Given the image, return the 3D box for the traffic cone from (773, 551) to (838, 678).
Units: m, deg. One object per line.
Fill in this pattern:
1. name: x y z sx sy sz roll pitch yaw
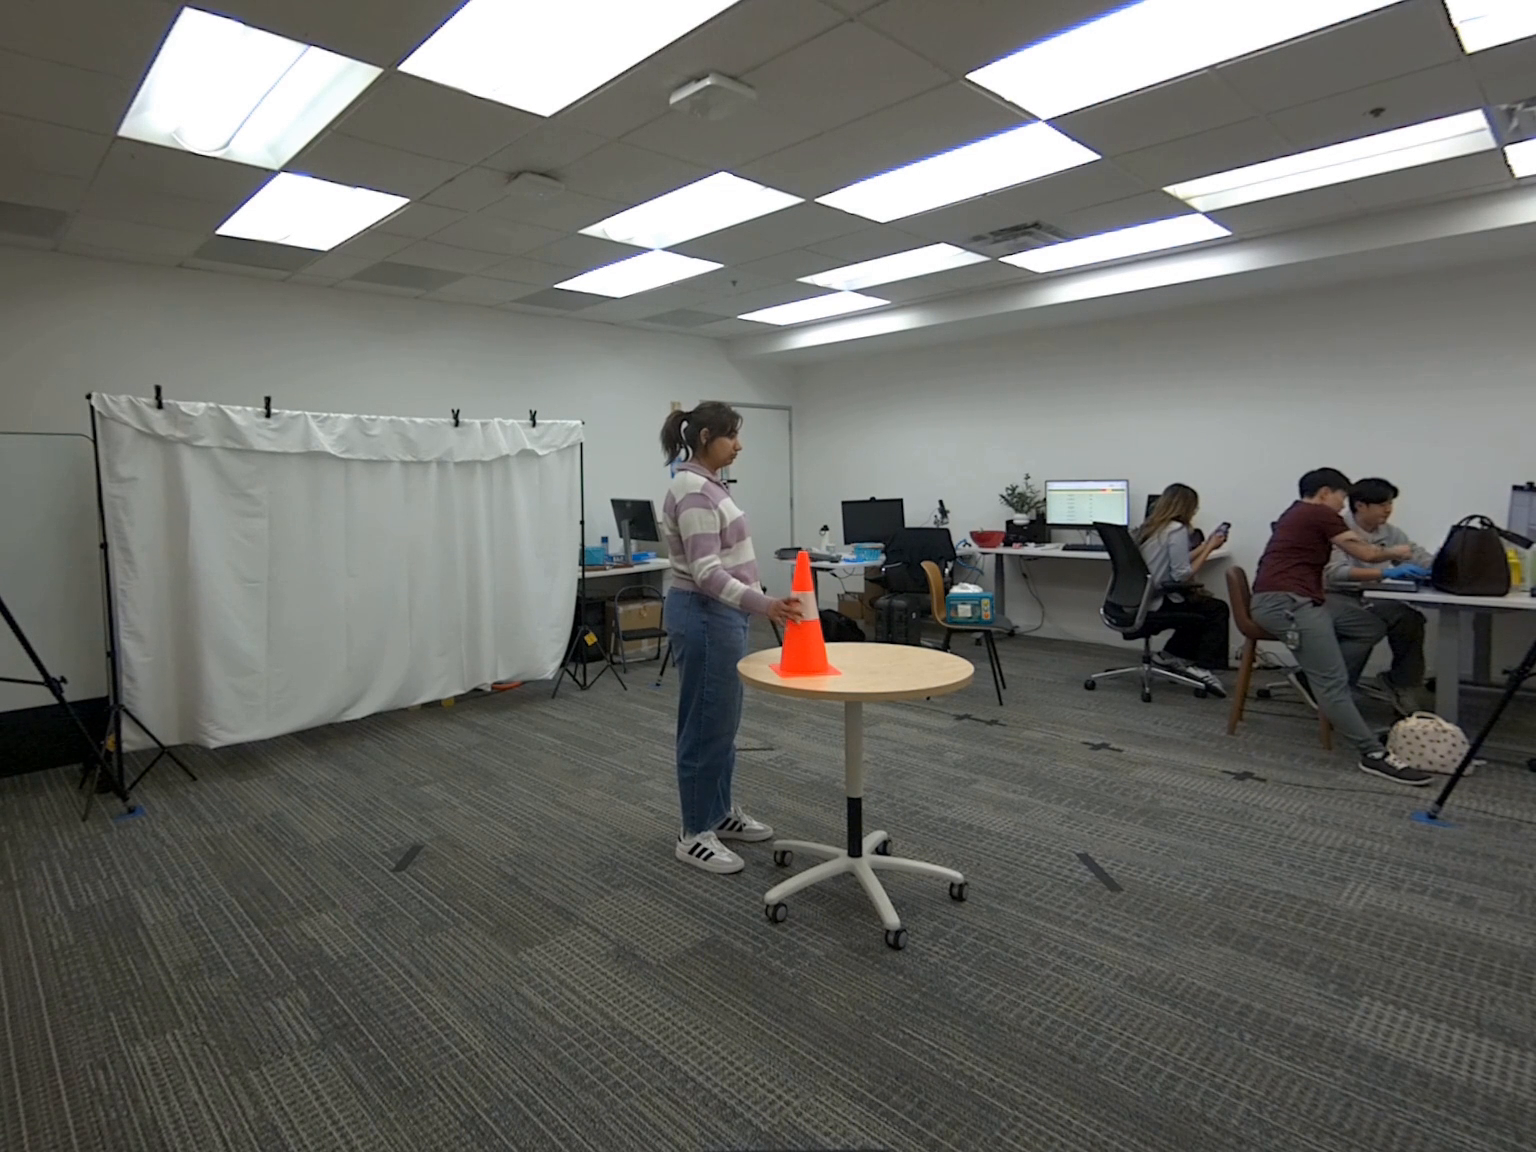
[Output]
1. traffic cone: 0.112 0.117 2.728 0.203 0.382 0.206 -4 4 -11
